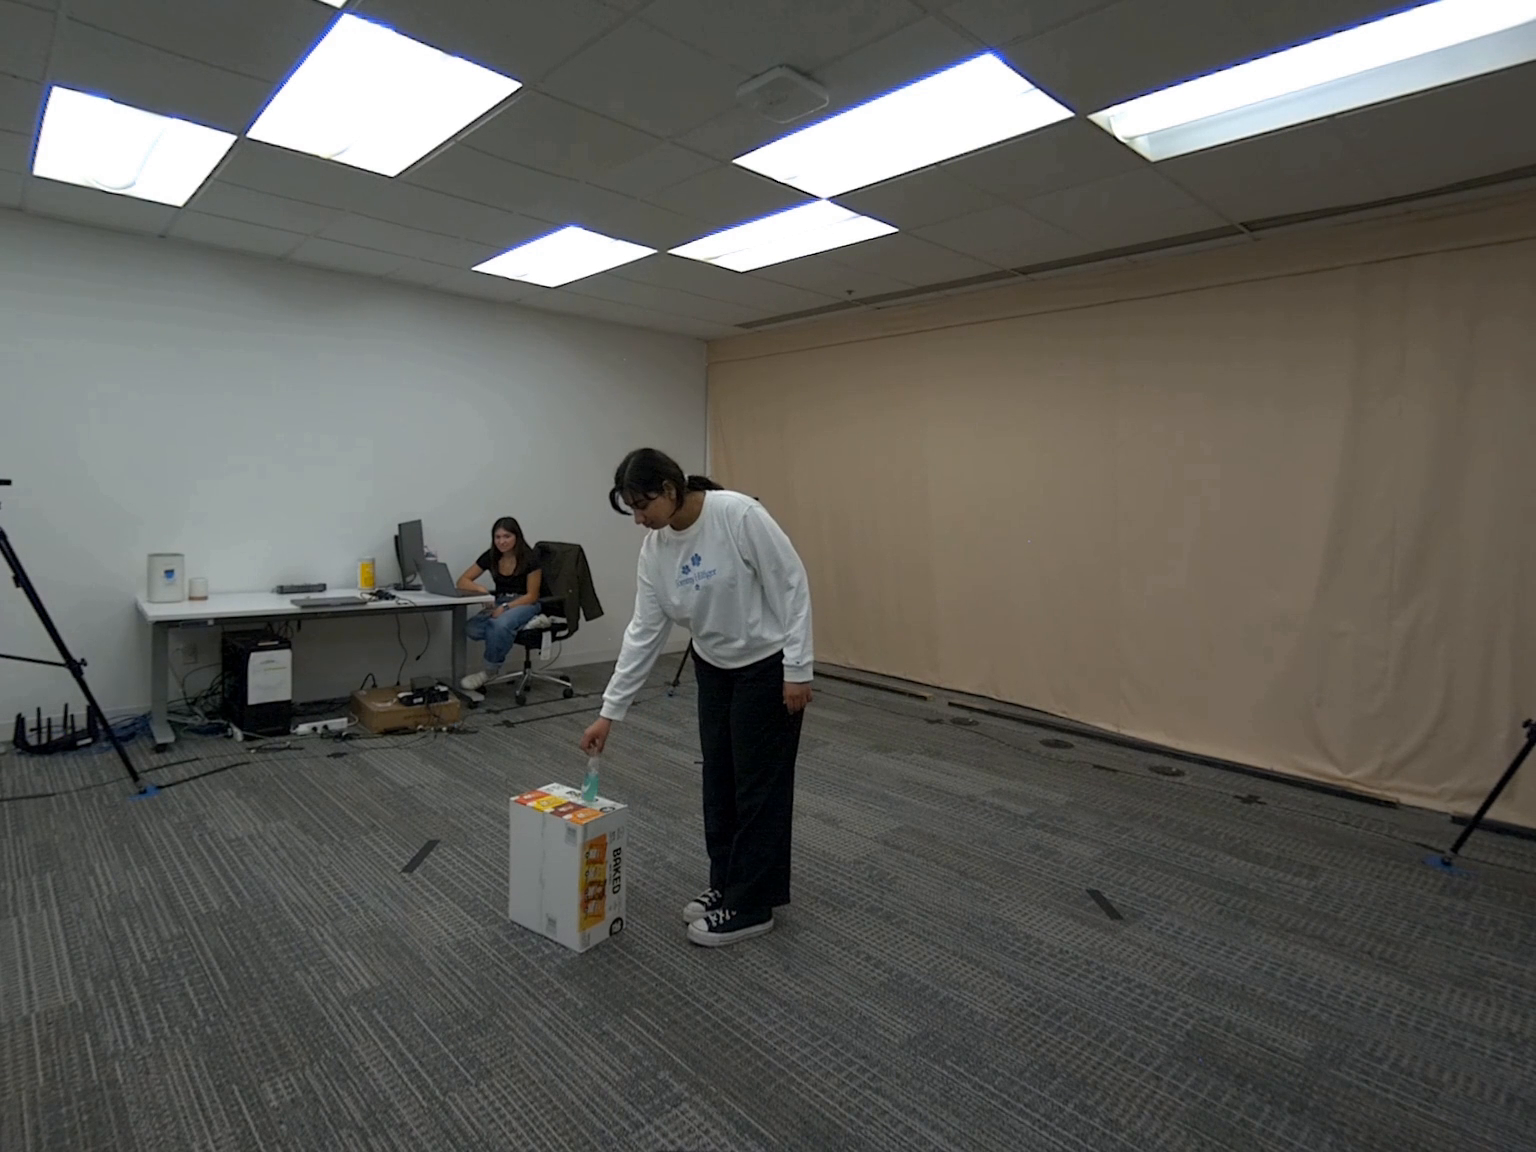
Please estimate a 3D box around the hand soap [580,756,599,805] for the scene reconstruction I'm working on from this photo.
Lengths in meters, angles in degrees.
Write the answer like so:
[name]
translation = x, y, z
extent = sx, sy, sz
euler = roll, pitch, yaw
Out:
[hand soap]
translation = -0.563, 0.632, 2.686
extent = 0.042, 0.168, 0.086
euler = 7, 5, -25
